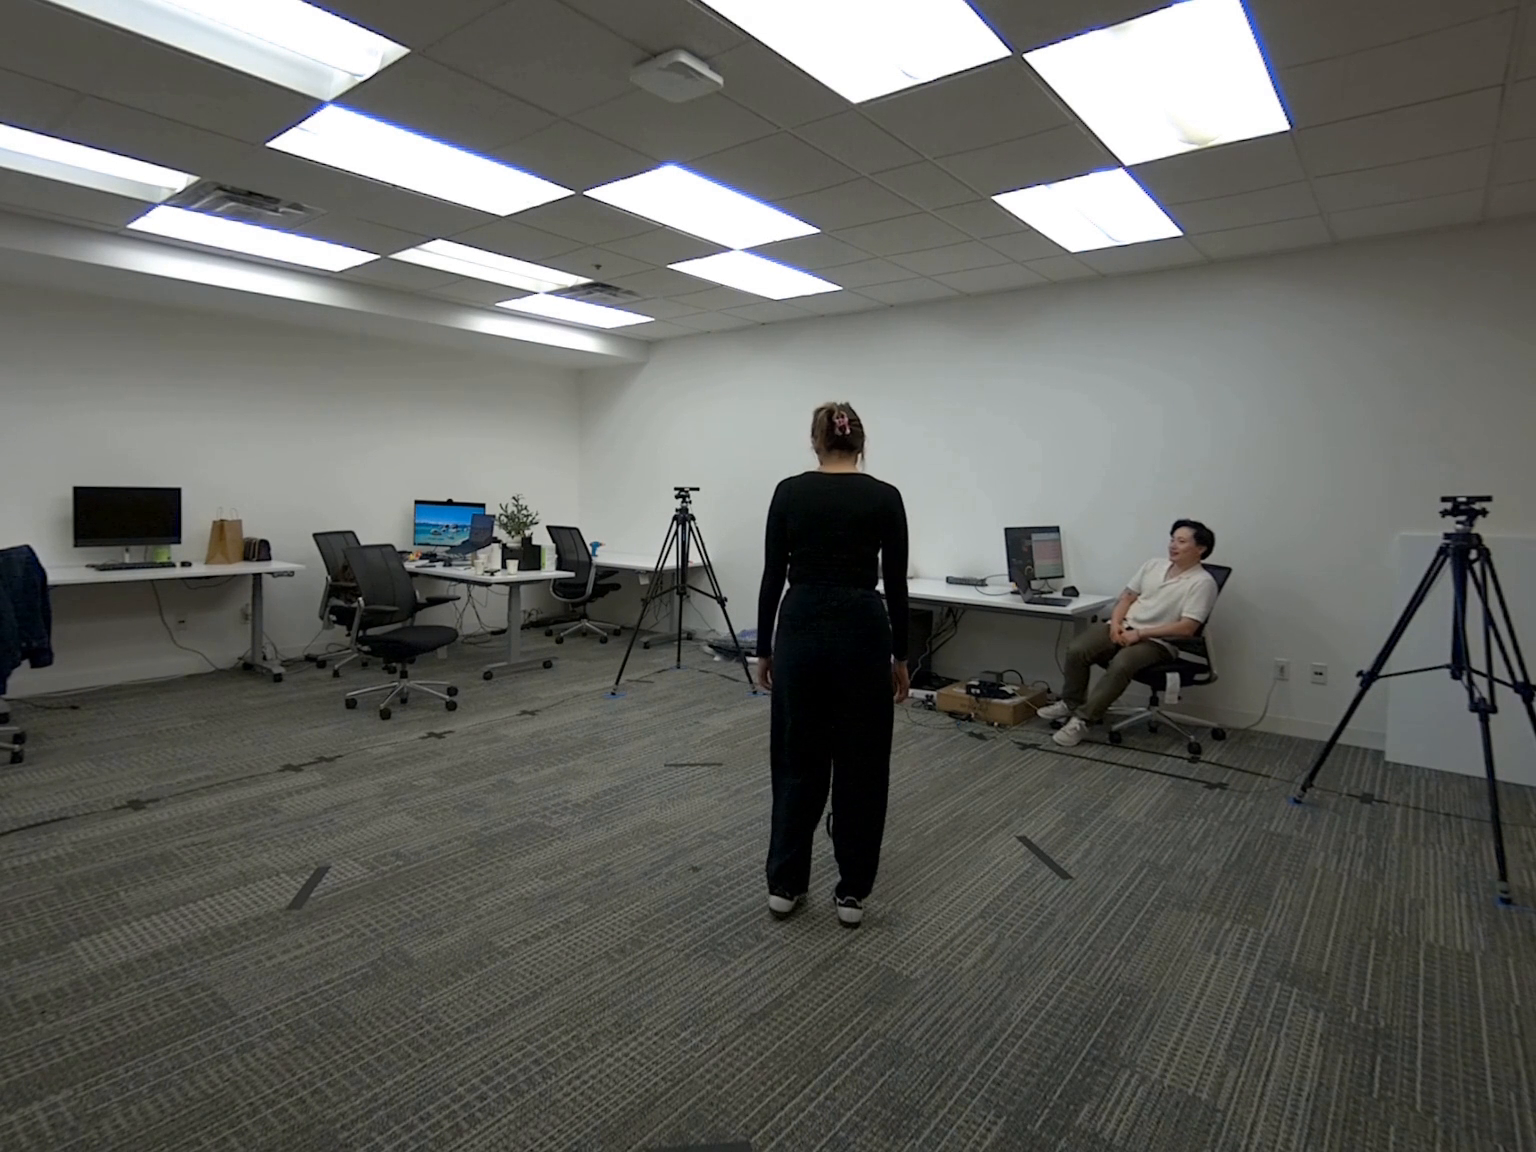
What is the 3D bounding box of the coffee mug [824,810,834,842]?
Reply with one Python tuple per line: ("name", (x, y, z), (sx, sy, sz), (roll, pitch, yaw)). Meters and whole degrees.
("coffee mug", (0.277, 0.965, 3.193), (0.126, 0.202, 0.086), (8, 8, 30))
